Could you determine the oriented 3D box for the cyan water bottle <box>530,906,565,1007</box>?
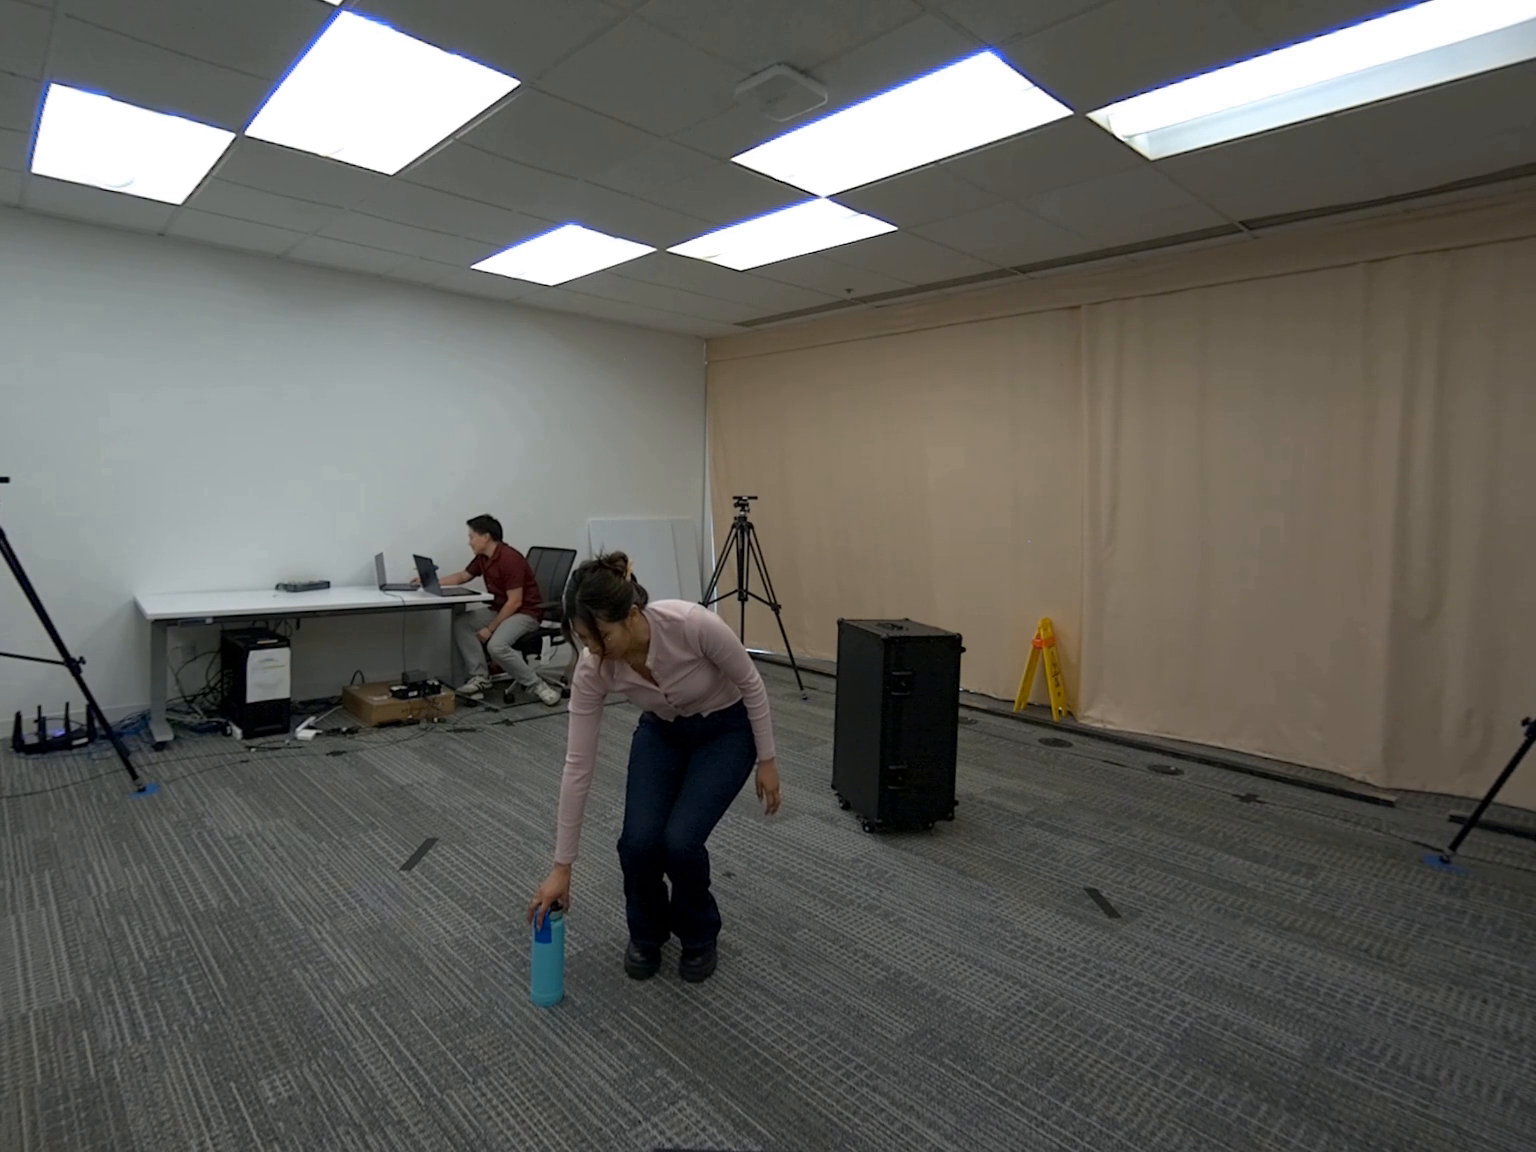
[{"bbox_3d":[-0.607,1.027,2.310,0.092,0.282,0.092,3,4,-2],"label":"cyan water bottle"}]
